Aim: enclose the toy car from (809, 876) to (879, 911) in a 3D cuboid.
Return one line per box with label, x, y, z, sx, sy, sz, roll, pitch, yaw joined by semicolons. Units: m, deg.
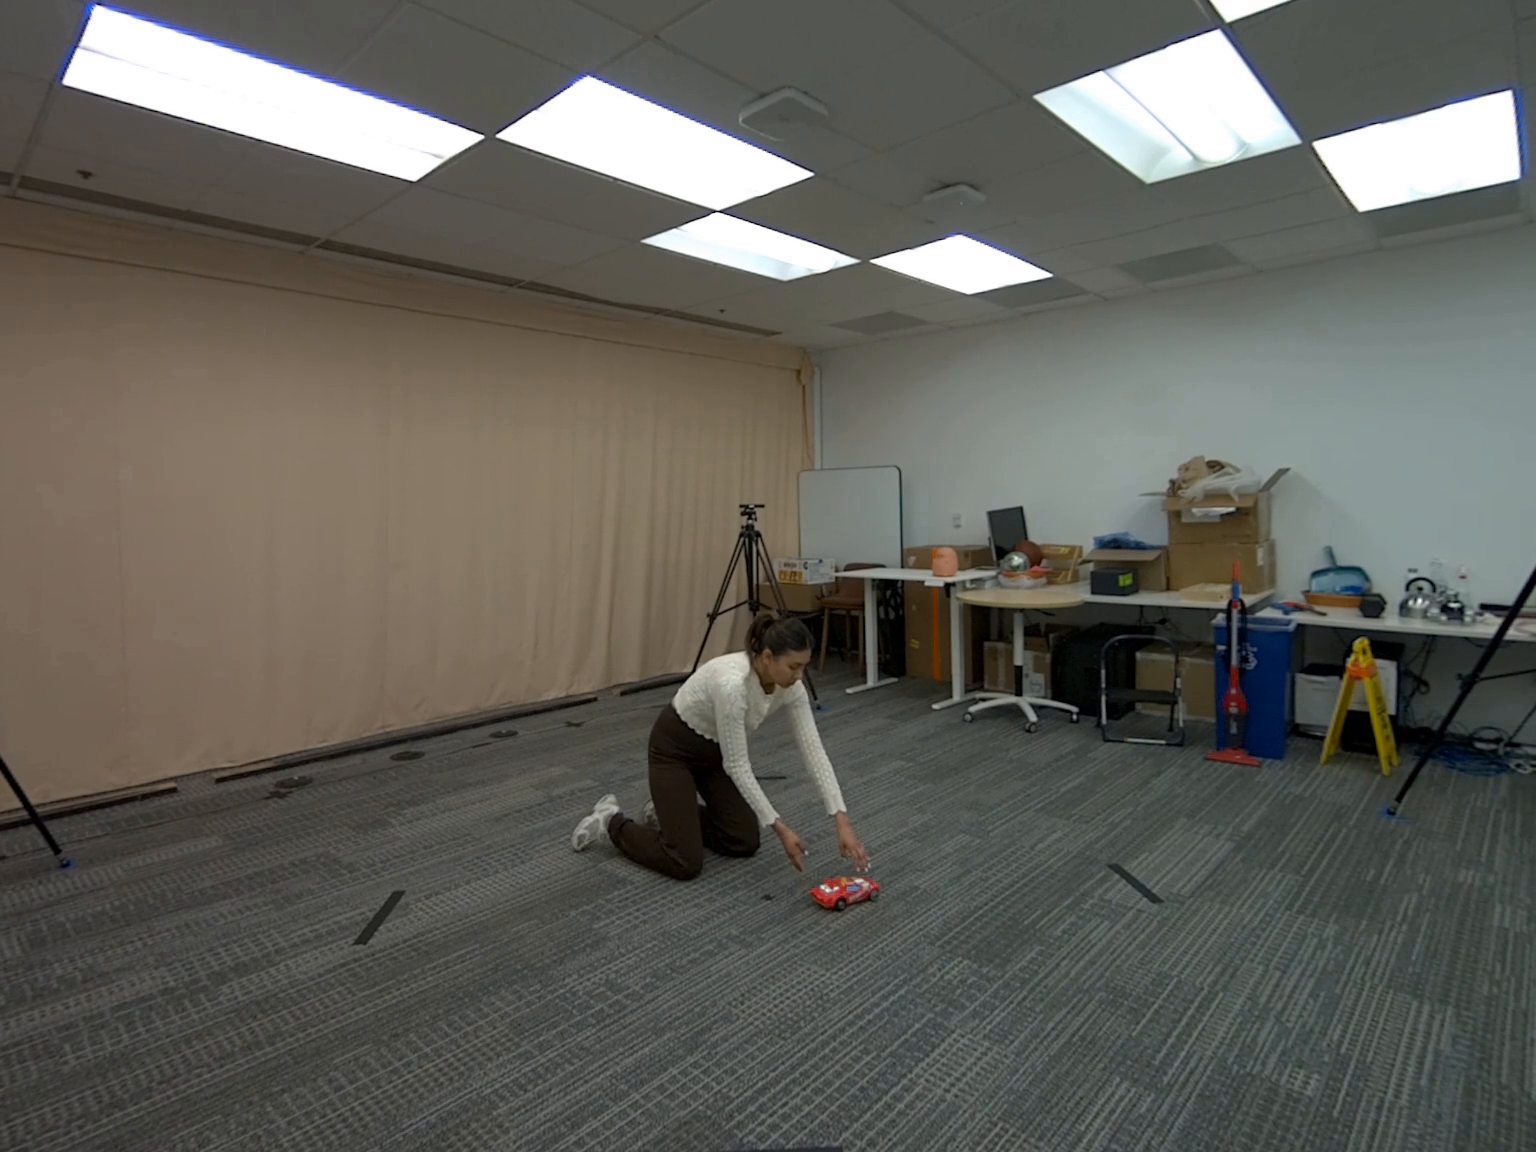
toy car;0.261;1.105;2.945;0.247;0.083;0.134;9;0;-30
